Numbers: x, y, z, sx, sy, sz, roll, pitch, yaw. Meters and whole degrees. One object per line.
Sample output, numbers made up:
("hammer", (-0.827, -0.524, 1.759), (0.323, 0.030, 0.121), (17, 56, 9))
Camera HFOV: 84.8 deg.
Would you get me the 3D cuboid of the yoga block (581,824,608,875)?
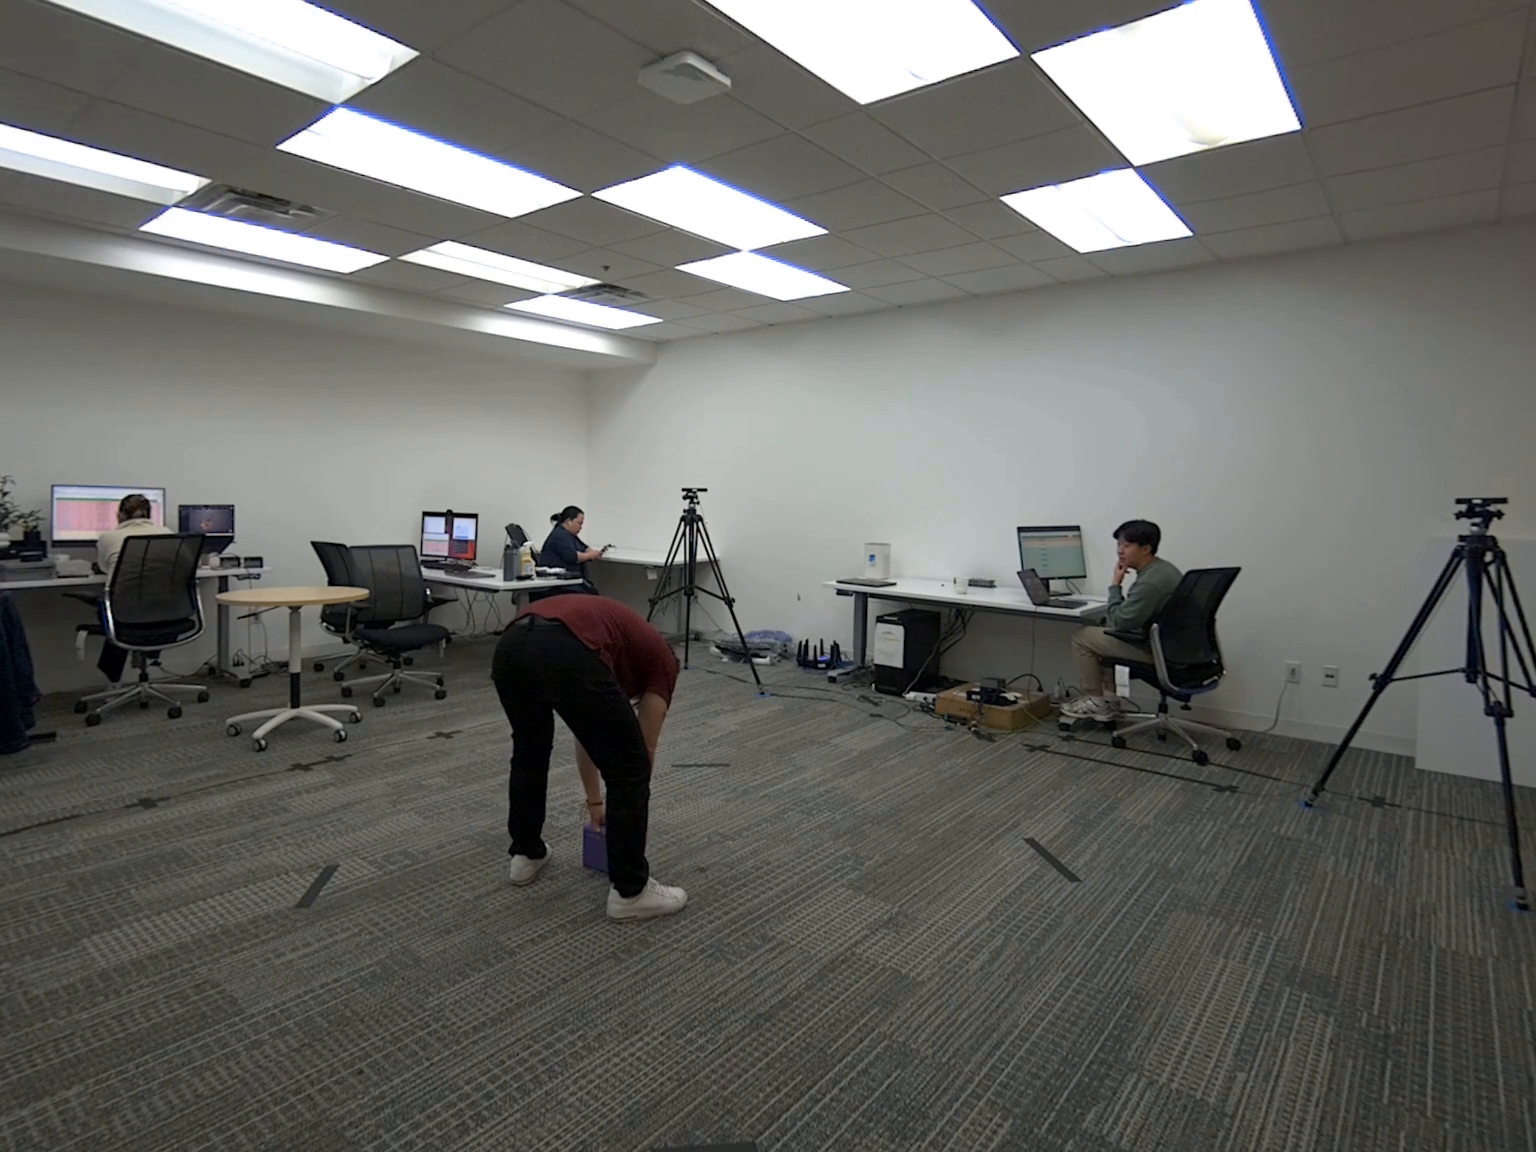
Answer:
("yoga block", (-0.581, 0.995, 3.080), (0.236, 0.148, 0.075), (3, 7, 28))
